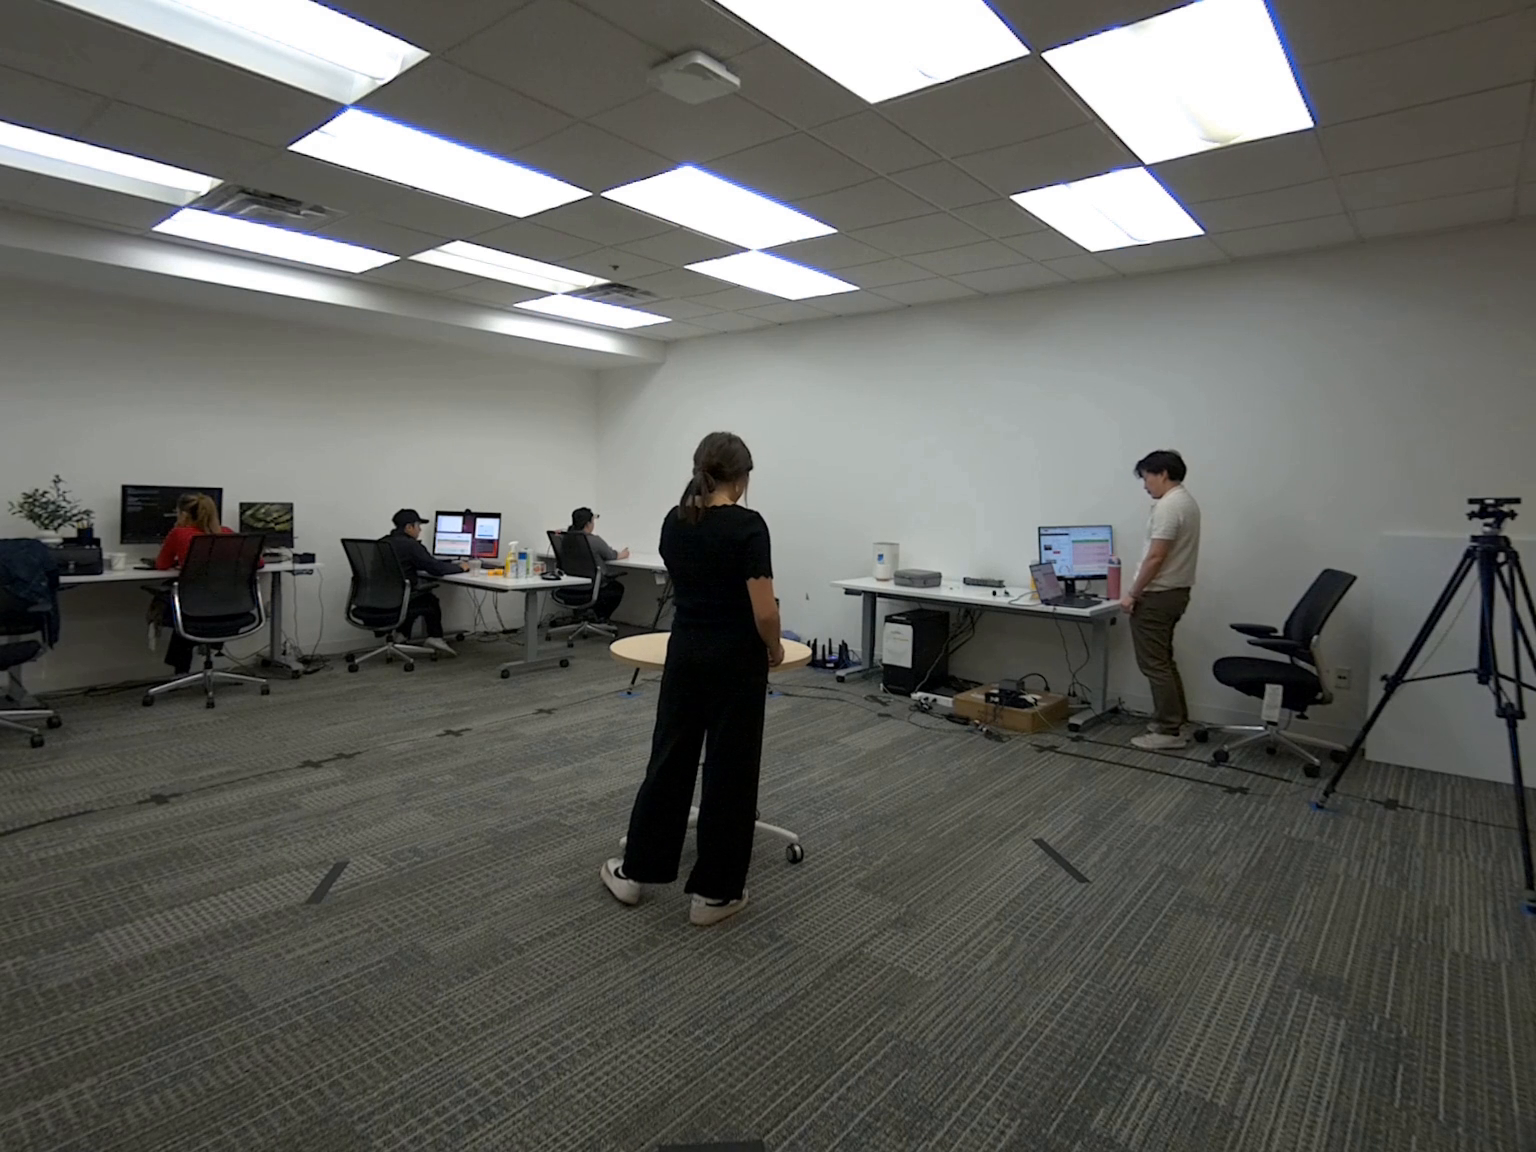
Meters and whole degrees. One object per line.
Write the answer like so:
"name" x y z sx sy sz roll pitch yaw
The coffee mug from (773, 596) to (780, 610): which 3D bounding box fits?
"coffee mug" -0.030 0.175 3.065 0.119 0.203 0.090 3 1 -25
